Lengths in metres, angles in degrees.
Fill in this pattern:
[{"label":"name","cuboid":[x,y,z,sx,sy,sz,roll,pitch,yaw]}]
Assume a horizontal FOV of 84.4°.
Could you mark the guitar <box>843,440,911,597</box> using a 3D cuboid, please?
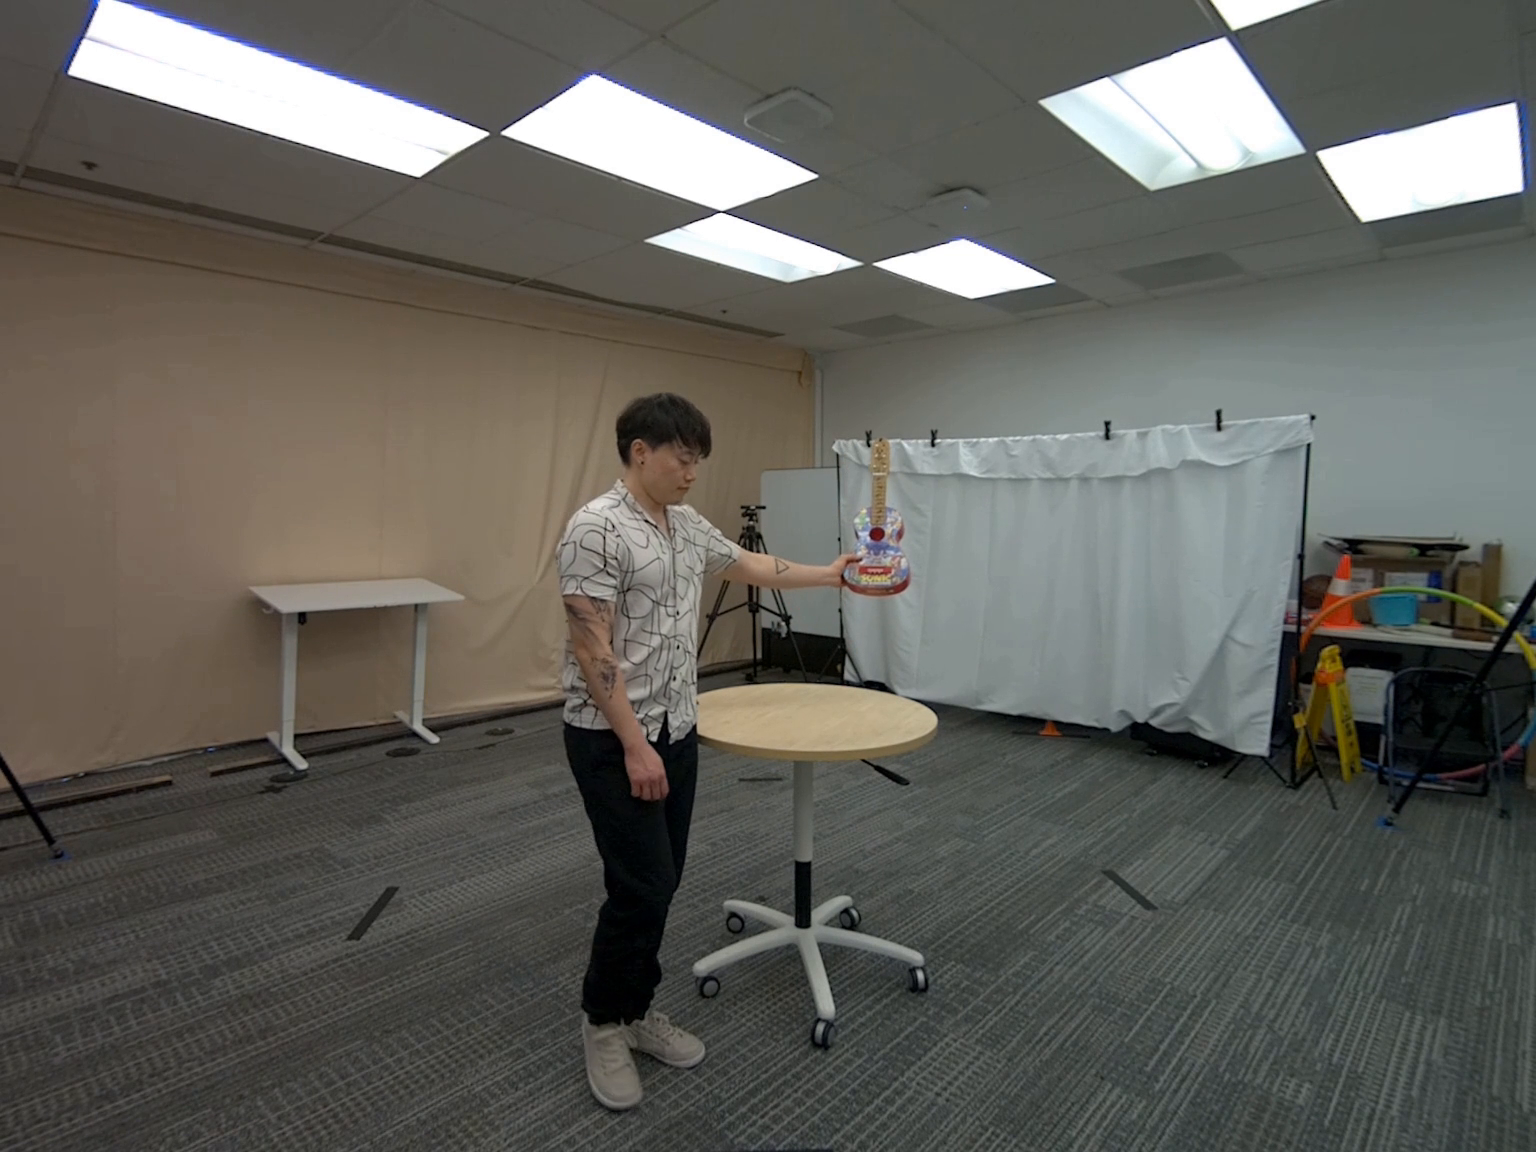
[{"label":"guitar","cuboid":[0.367,-0.179,2.535,0.197,0.501,0.069,8,-20,19]}]
